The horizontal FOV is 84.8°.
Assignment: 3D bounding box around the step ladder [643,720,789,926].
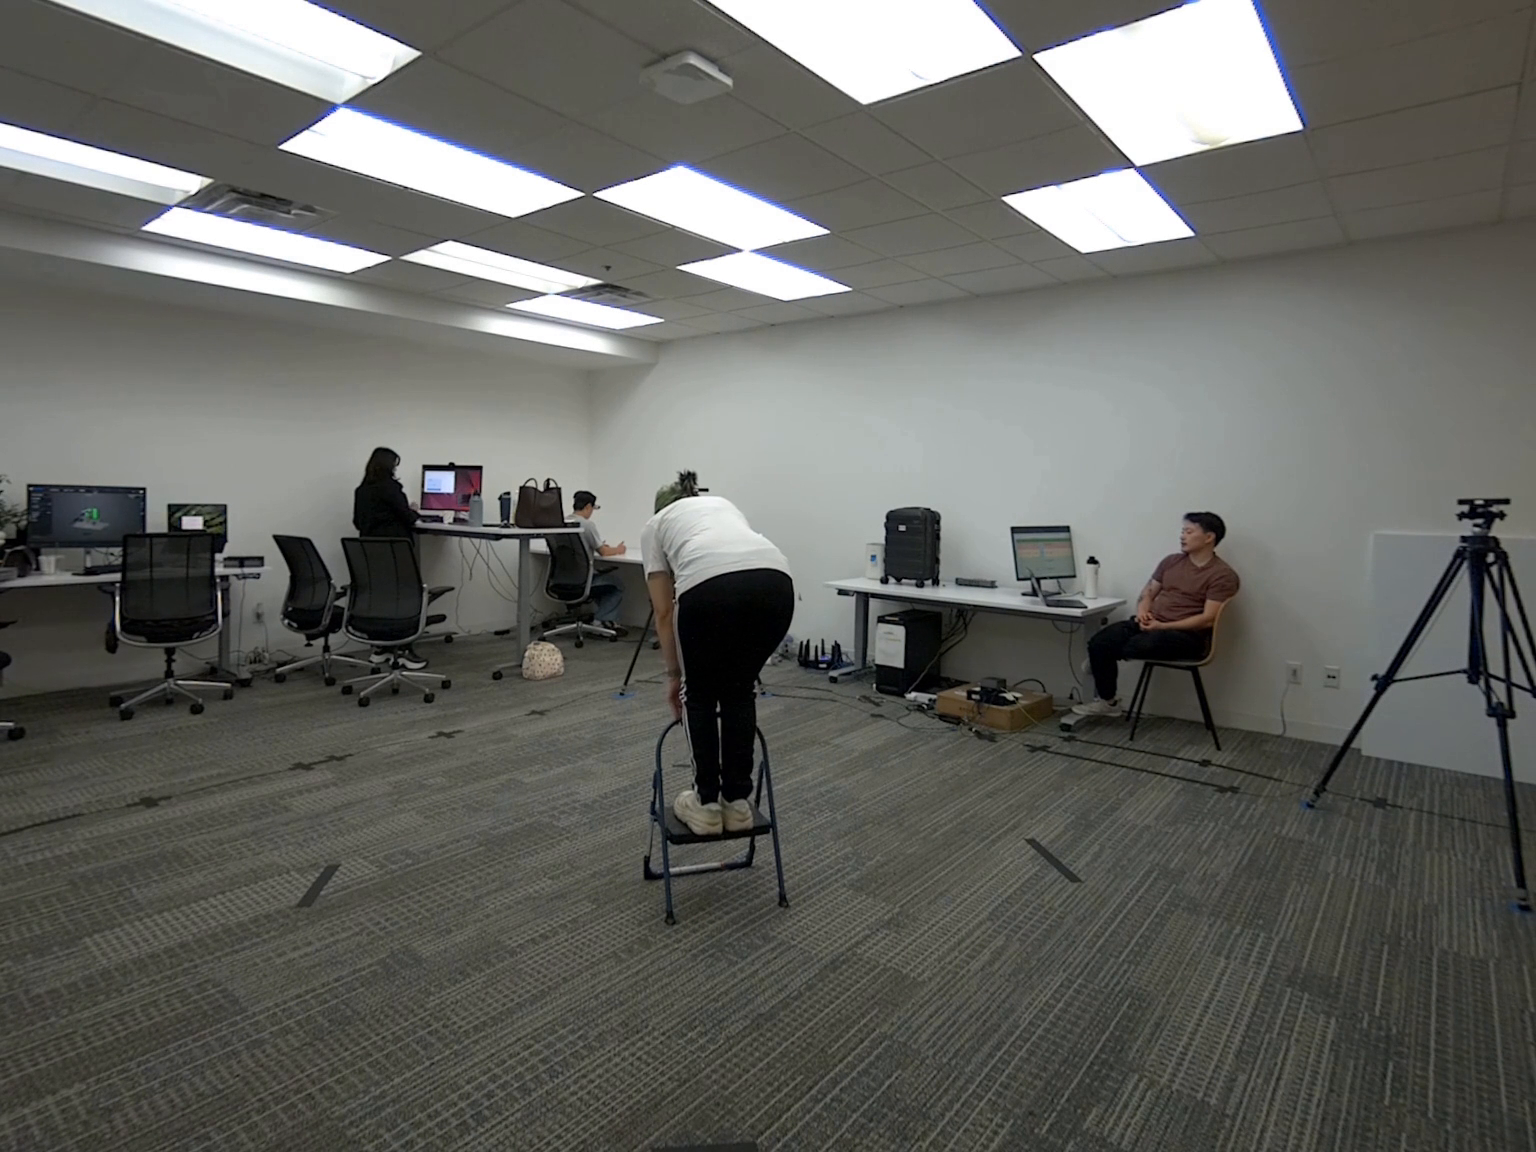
[{"bbox_3d":[-0.193,0.790,2.923,0.422,0.604,0.358,0,3,-22],"label":"step ladder"}]
